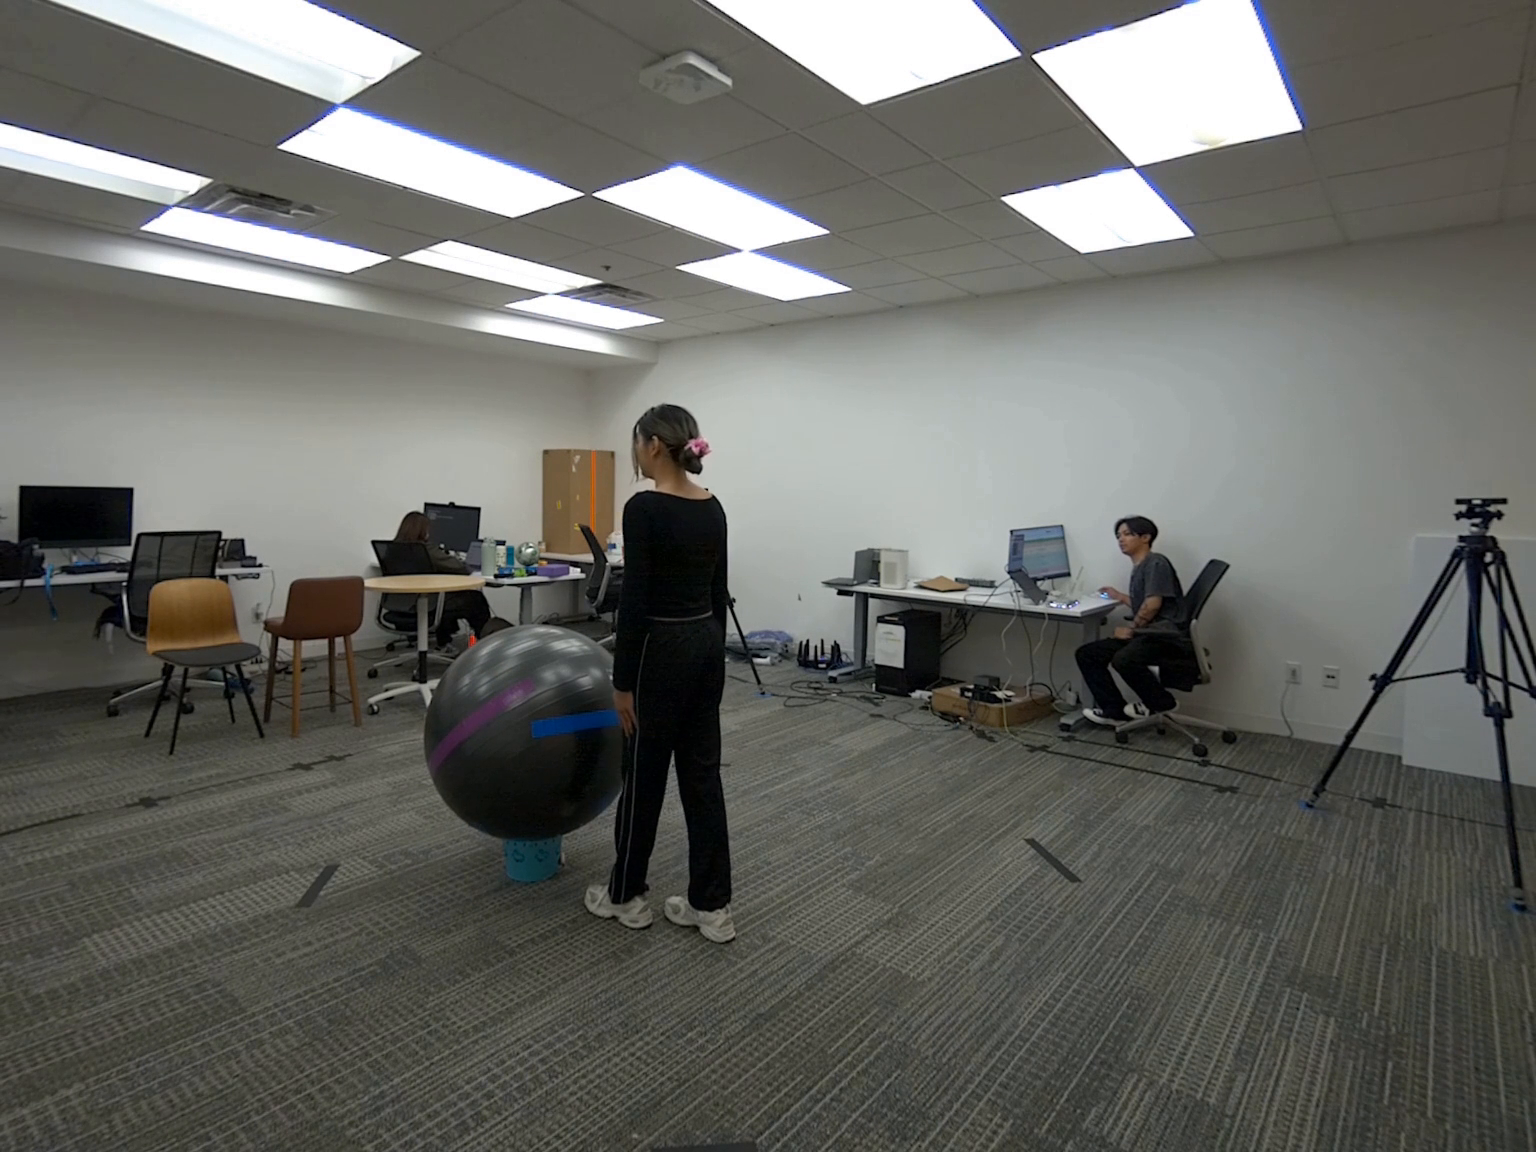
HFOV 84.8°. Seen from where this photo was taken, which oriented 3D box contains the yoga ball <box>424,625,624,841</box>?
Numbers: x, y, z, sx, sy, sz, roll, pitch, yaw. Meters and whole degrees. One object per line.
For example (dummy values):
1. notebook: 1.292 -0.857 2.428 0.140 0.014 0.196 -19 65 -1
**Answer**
1. yoga ball: -0.854 0.554 3.057 0.757 0.755 0.762 1 4 -2
